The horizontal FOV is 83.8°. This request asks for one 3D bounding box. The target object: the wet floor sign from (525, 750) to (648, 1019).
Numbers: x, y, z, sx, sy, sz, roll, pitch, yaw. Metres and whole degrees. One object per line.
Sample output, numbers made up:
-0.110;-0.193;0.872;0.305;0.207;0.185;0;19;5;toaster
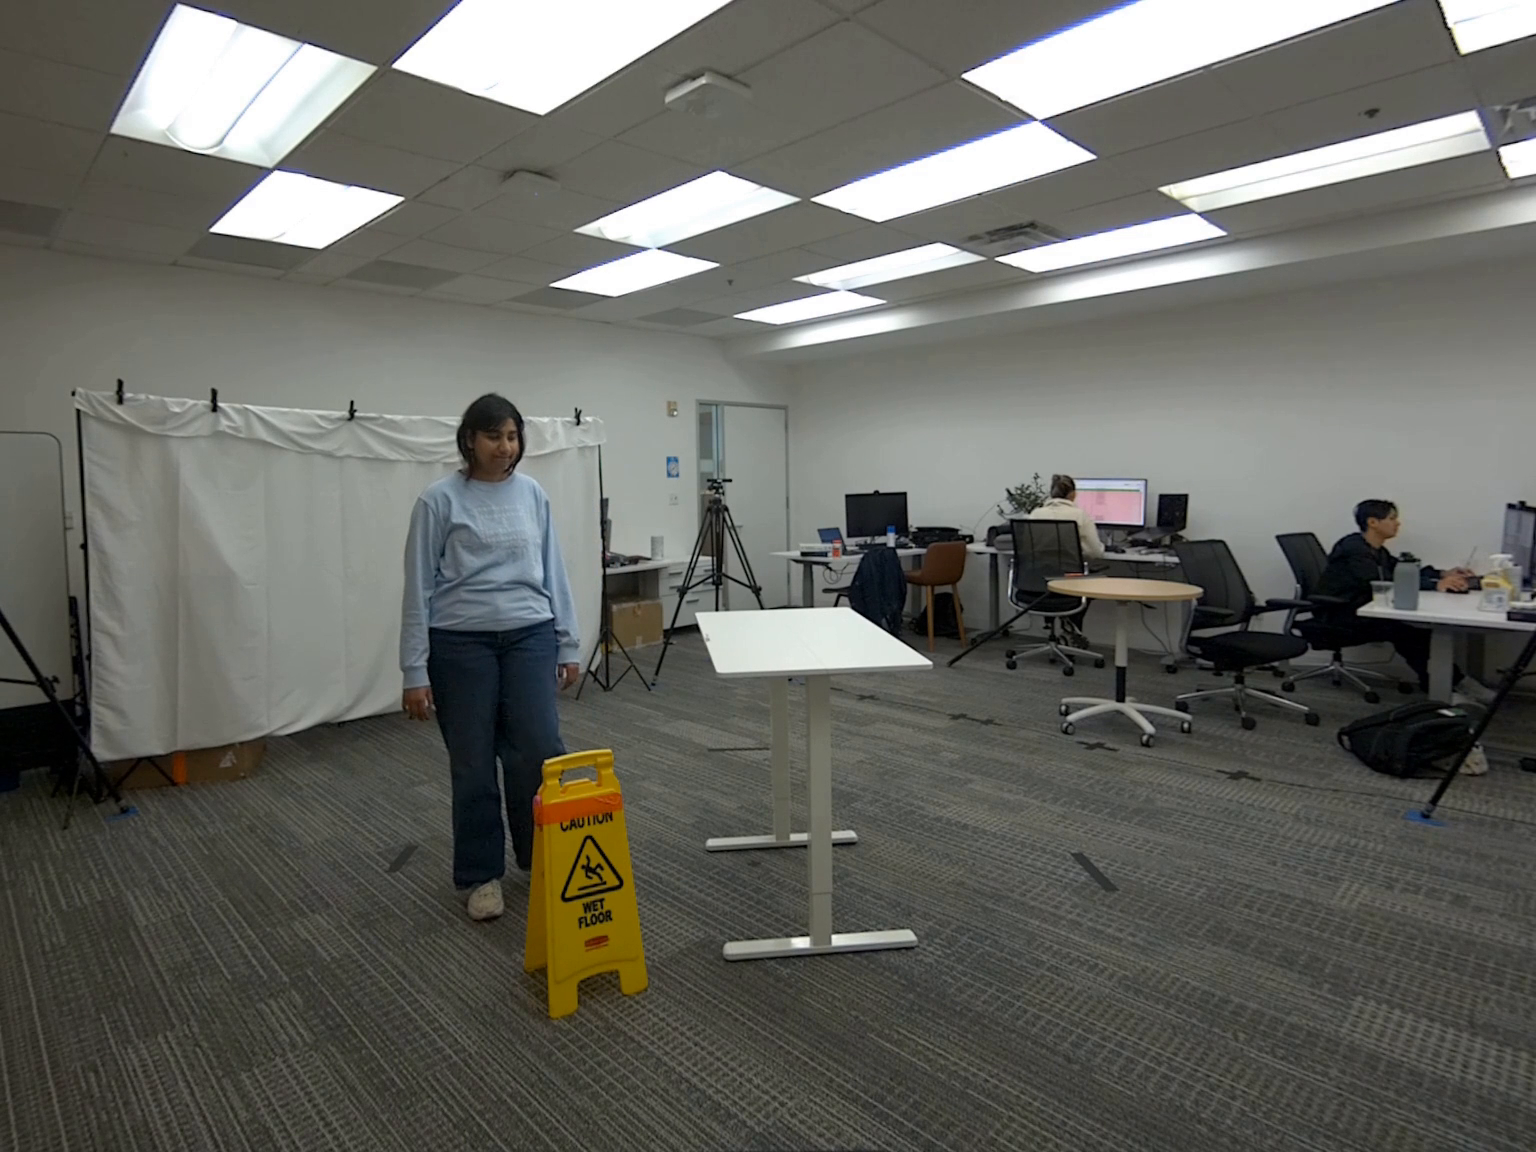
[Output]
-0.517;0.817;2.382;0.276;0.643;0.298;-4;6;-29;wet floor sign
